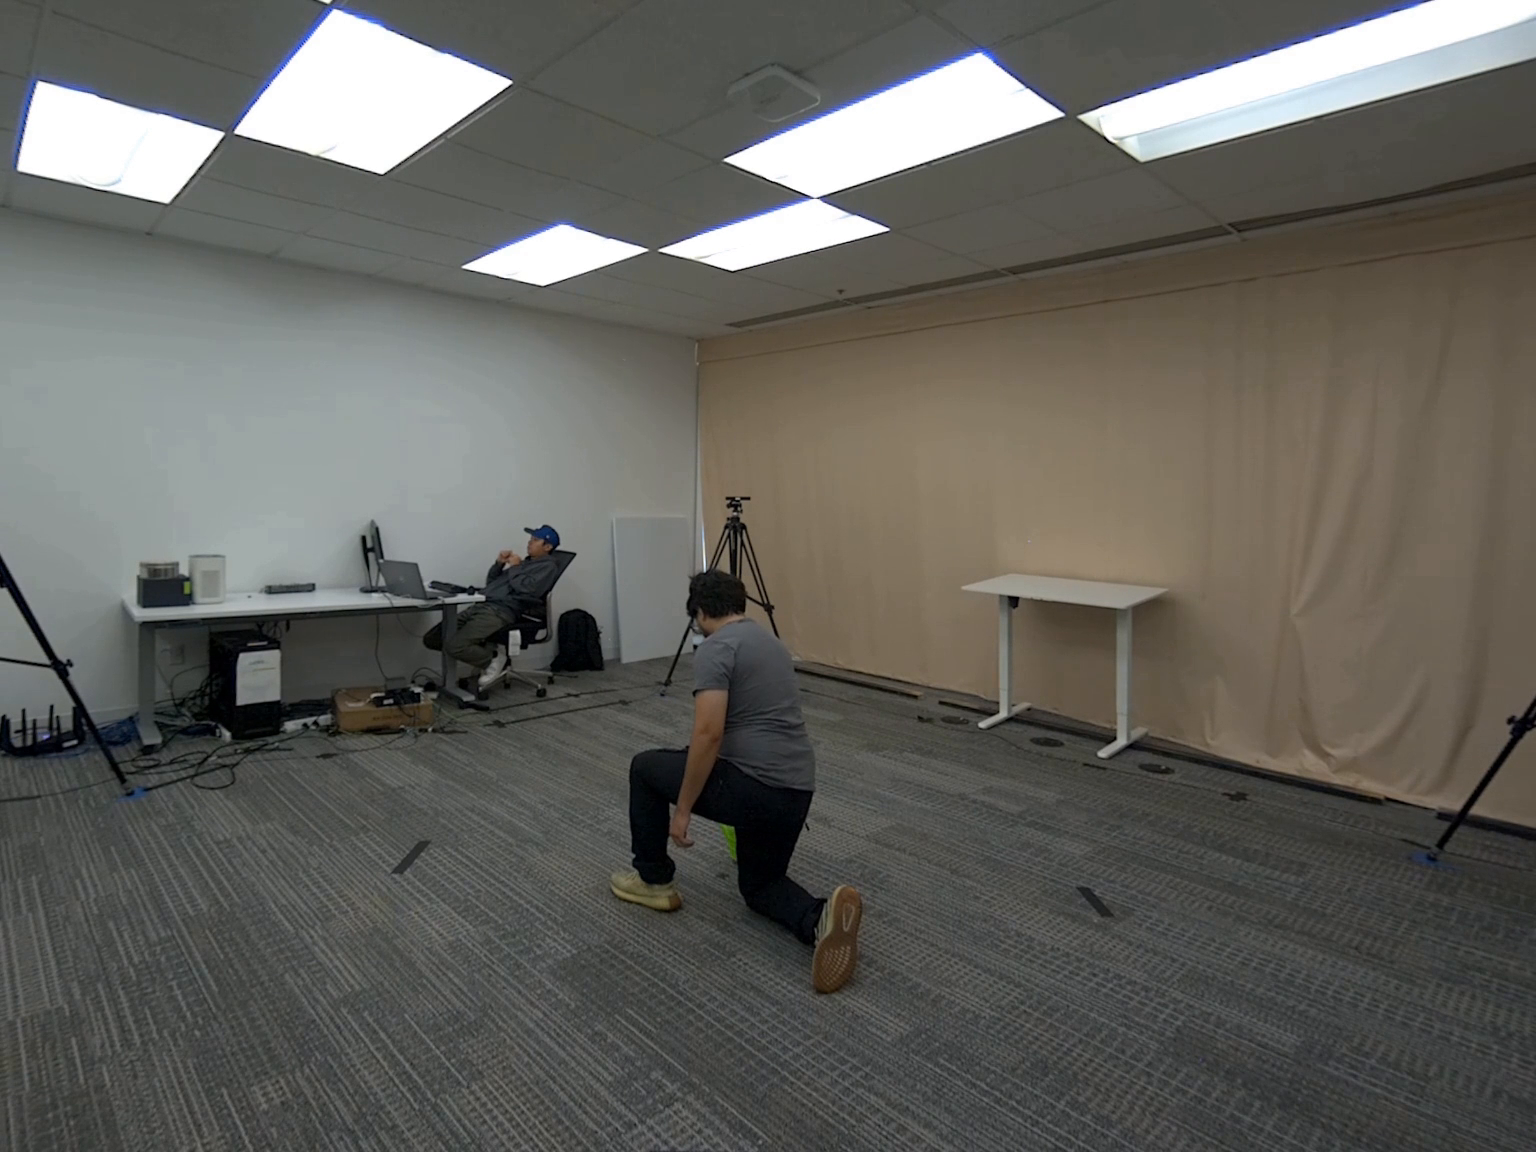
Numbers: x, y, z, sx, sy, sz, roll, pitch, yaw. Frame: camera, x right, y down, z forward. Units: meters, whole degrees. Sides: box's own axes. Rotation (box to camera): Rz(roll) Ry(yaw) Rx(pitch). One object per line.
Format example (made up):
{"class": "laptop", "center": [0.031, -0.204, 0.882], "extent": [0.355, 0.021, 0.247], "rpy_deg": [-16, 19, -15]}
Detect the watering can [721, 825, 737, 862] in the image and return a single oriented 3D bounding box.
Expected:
{"class": "watering can", "center": [-0.124, 0.987, 3.230], "extent": [0.096, 0.176, 0.285], "rpy_deg": [-5, 6, -33]}
